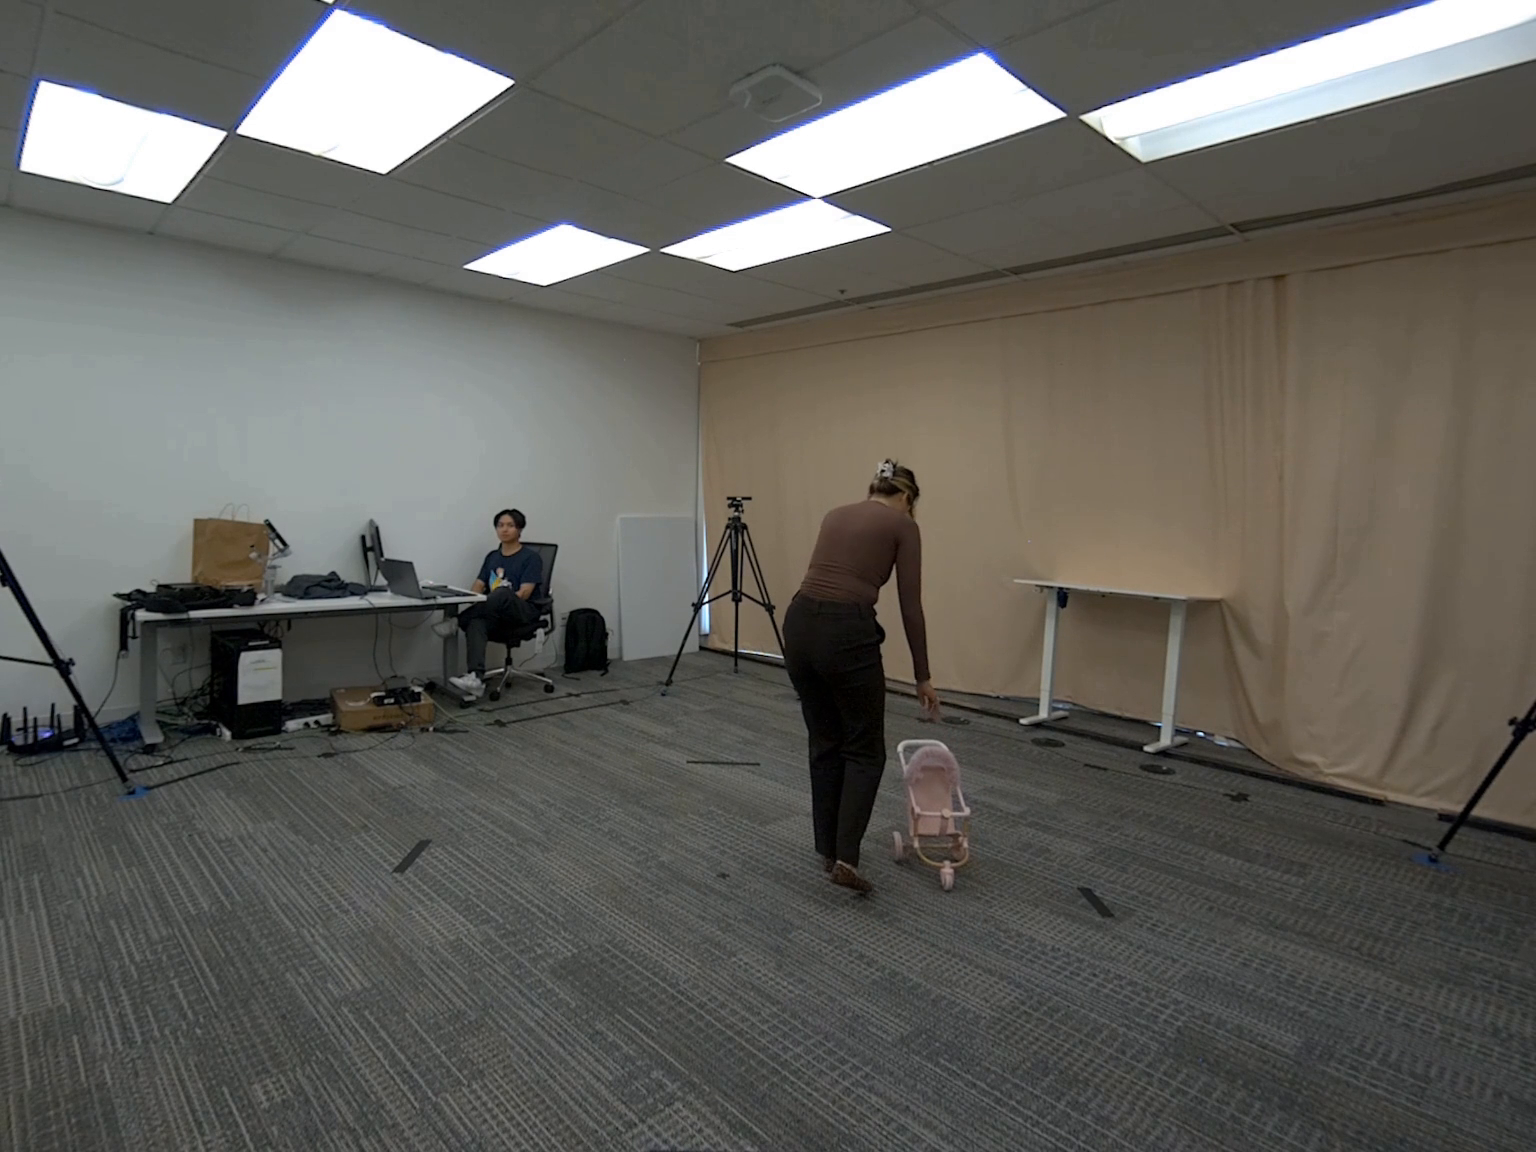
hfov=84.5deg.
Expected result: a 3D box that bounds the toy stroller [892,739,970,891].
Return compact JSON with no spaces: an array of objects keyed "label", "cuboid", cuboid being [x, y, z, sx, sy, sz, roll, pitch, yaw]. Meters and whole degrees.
[{"label":"toy stroller","cuboid":[0.622,0.890,3.211,0.281,0.540,0.338,1,-13,0]}]
